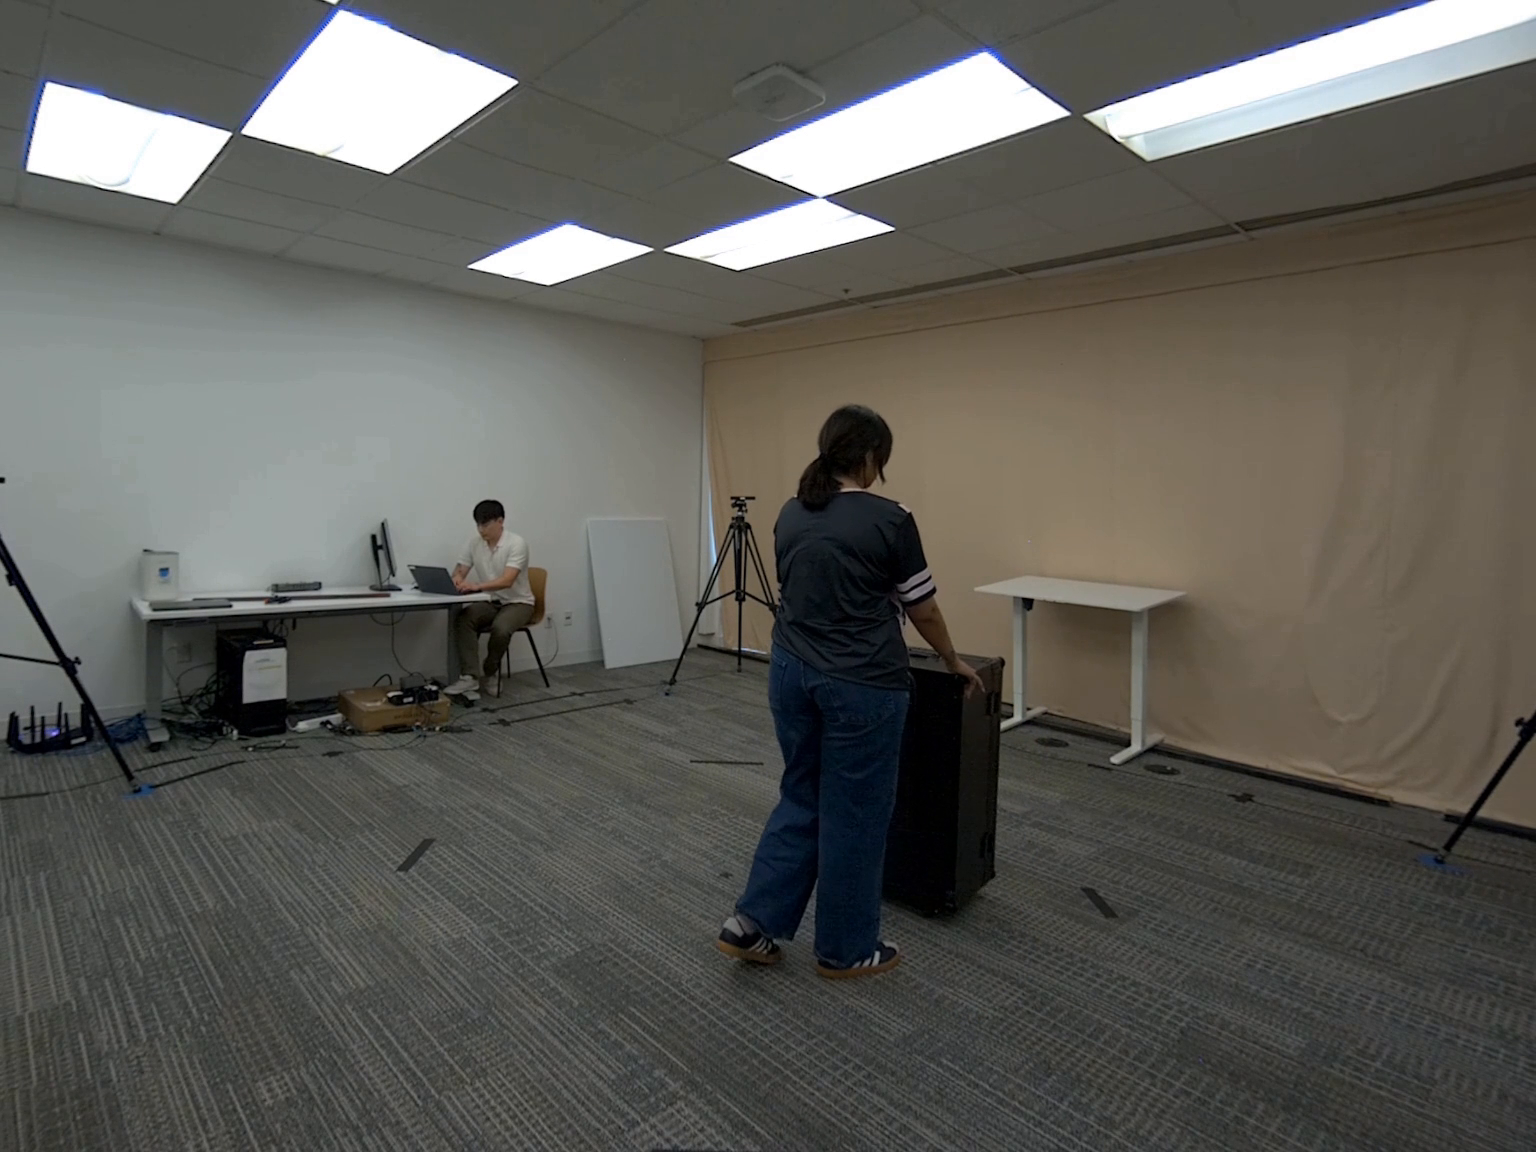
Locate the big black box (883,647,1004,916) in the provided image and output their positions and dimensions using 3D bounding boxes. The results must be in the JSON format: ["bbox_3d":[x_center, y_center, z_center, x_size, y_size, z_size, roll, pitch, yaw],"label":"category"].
[{"bbox_3d":[0.519,0.712,2.968,0.536,0.866,0.377,4,5,36],"label":"big black box"}]
